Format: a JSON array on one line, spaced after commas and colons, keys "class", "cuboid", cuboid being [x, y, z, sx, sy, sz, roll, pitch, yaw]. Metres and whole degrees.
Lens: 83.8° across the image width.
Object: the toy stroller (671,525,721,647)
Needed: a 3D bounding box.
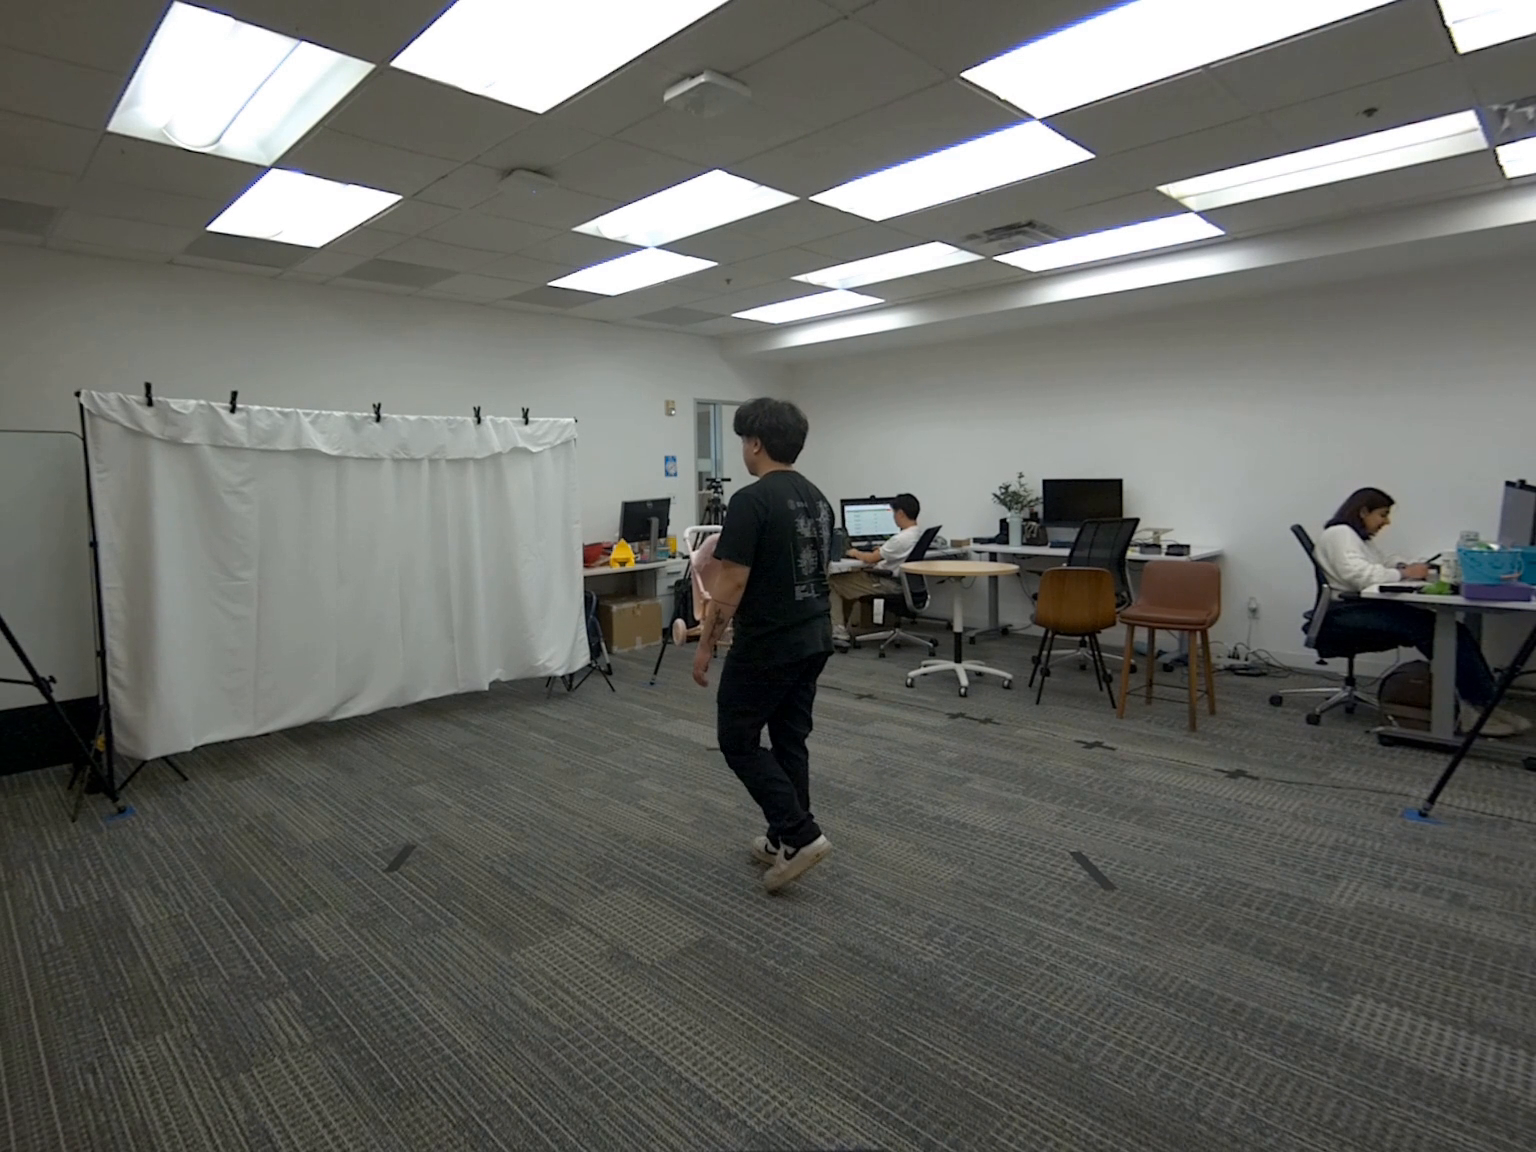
[{"class": "toy stroller", "cuboid": [-0.192, 0.071, 3.307, 0.276, 0.535, 0.347, 1, 0, -20]}]
